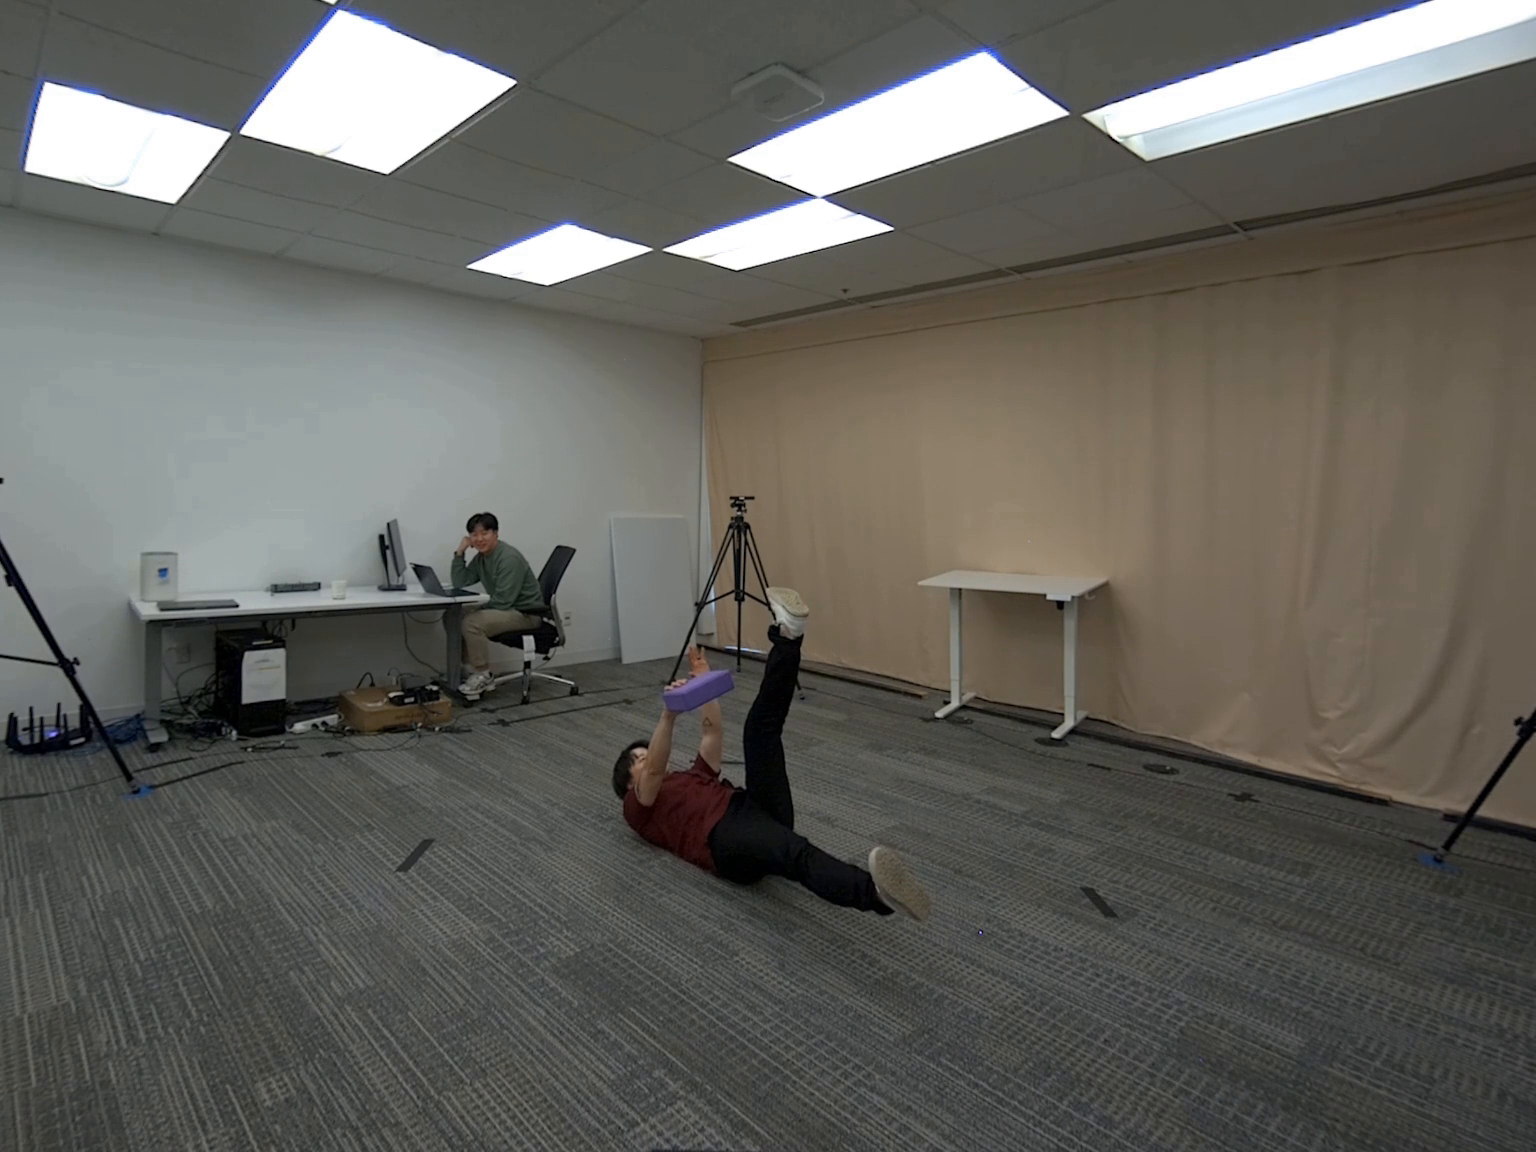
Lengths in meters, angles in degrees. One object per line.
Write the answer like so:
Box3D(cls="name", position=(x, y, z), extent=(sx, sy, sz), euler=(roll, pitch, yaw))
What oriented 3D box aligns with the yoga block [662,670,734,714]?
Box3D(cls="yoga block", position=(-0.269, 0.429, 3.115), extent=(0.226, 0.076, 0.151), euler=(-22, 7, -42))
